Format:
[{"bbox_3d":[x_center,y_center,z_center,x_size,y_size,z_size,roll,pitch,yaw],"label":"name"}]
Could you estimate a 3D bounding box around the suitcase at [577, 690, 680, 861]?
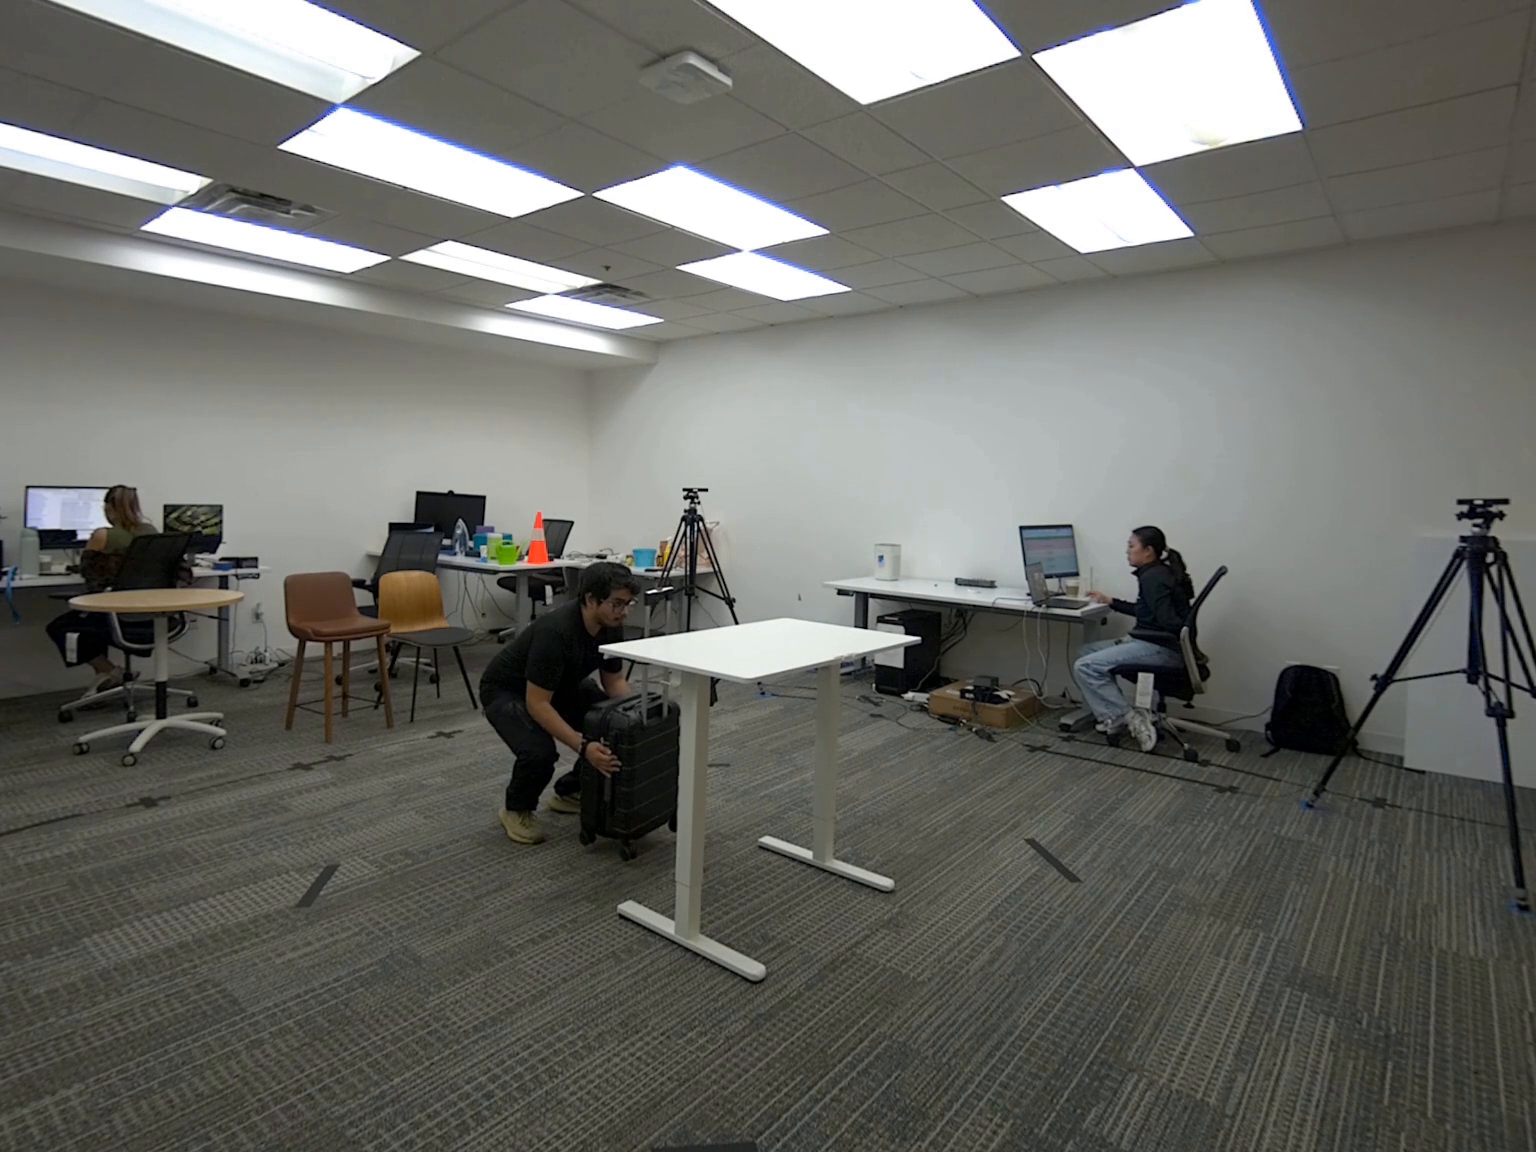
[{"bbox_3d":[-0.533,0.536,3.259,0.265,0.974,0.374,4,6,32],"label":"suitcase"}]
